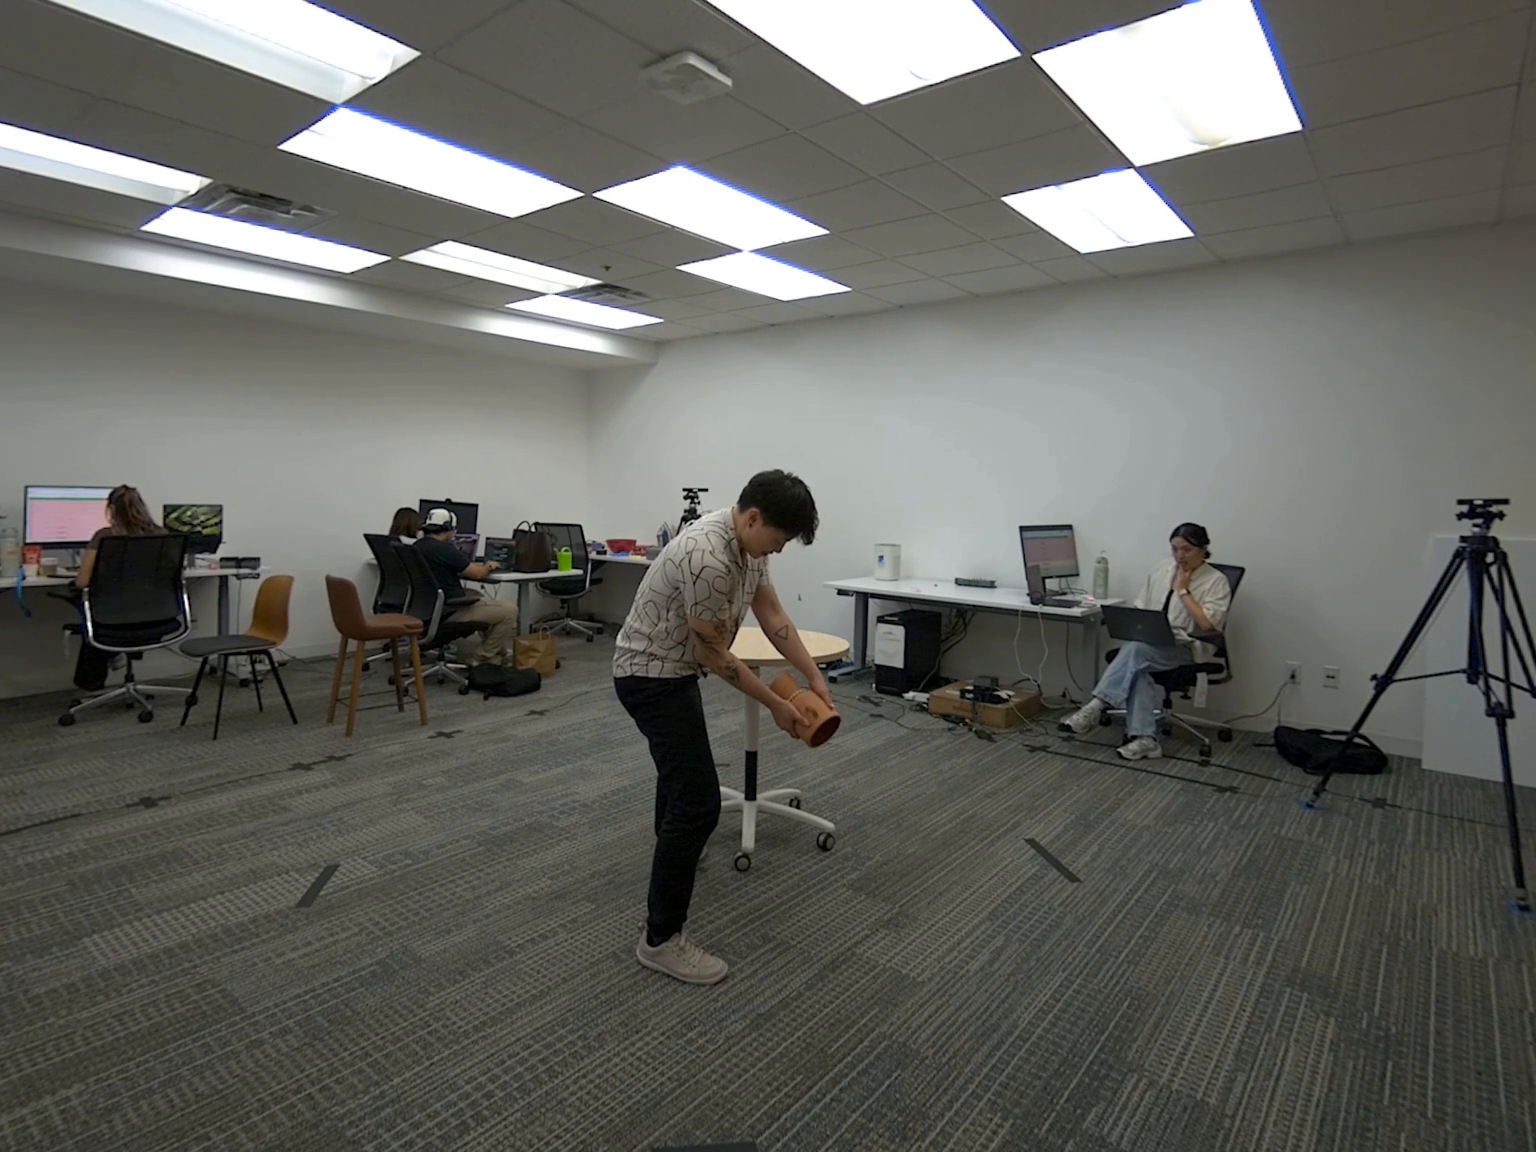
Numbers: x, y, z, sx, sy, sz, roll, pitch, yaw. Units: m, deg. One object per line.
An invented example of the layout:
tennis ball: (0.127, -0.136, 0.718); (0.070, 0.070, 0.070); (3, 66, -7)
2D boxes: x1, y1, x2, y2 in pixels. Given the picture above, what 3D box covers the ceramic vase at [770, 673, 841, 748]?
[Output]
ceramic vase: (0.097, 0.406, 2.622); (0.131, 0.157, 0.228); (-9, 41, -44)
